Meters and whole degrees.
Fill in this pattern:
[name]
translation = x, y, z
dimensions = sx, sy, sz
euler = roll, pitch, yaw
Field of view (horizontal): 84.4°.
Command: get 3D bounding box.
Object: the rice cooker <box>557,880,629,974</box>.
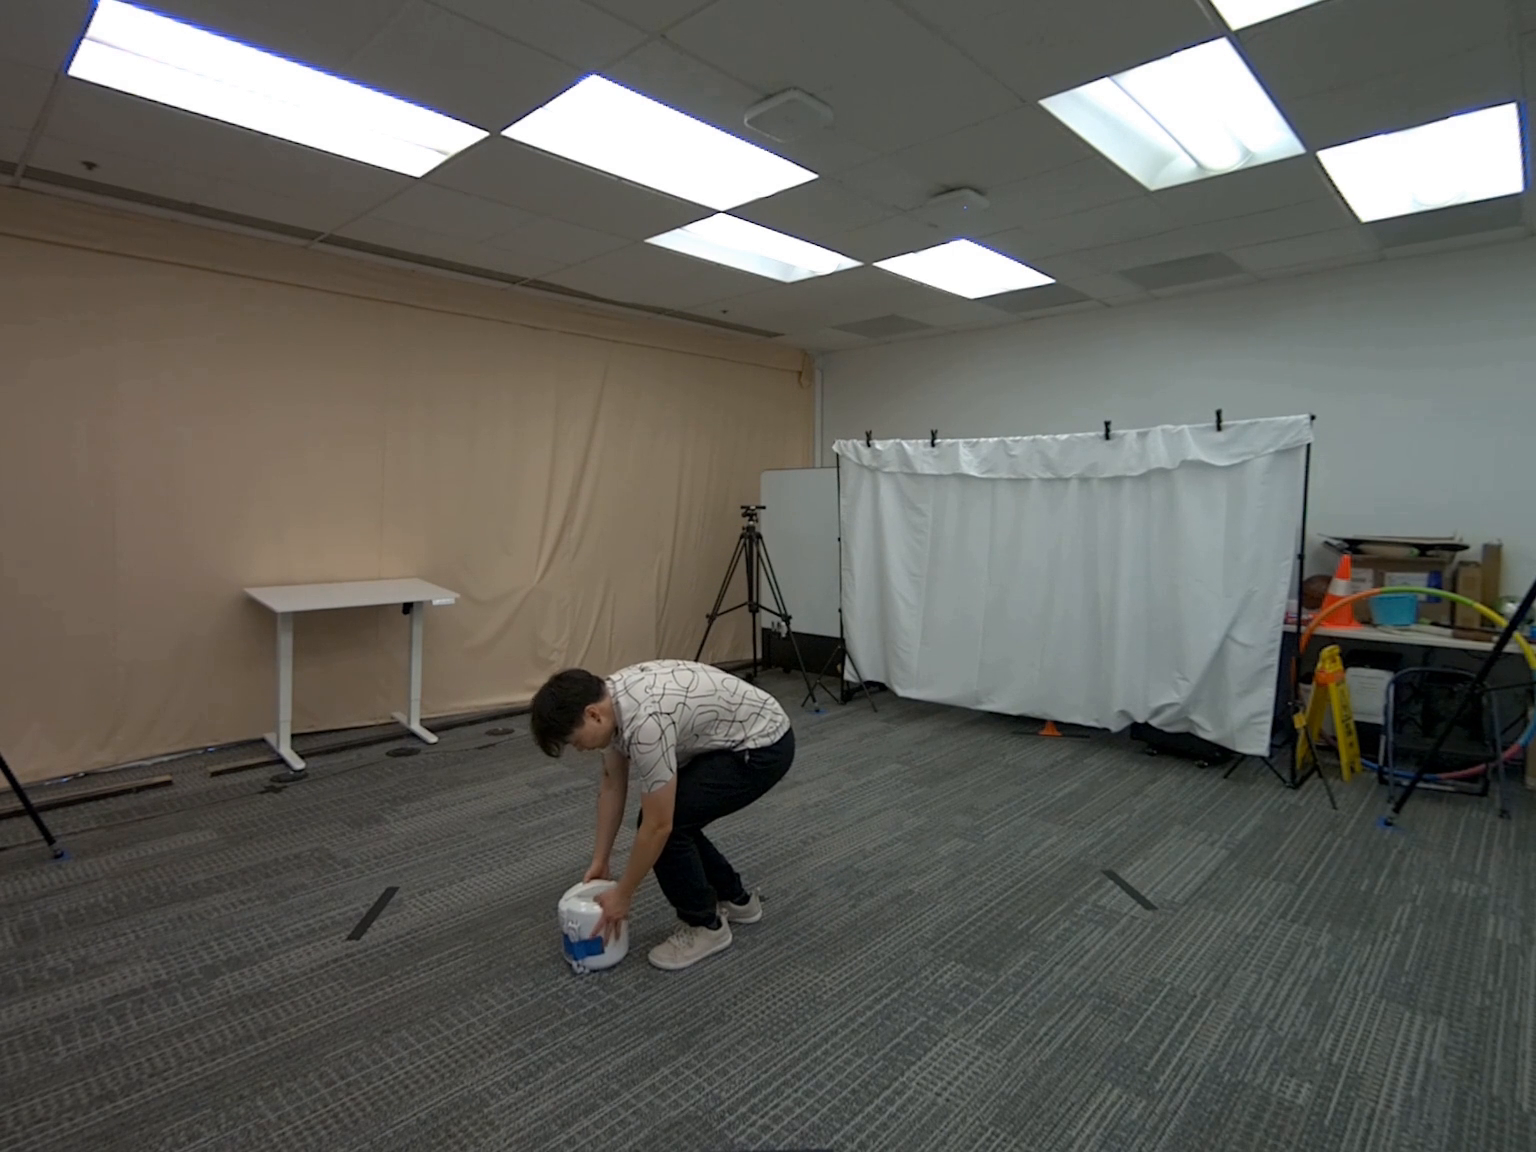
[rice cooker]
translation = -0.534, 1.063, 2.612
dimensions = 0.215, 0.232, 0.223
euler = -2, 4, -25
